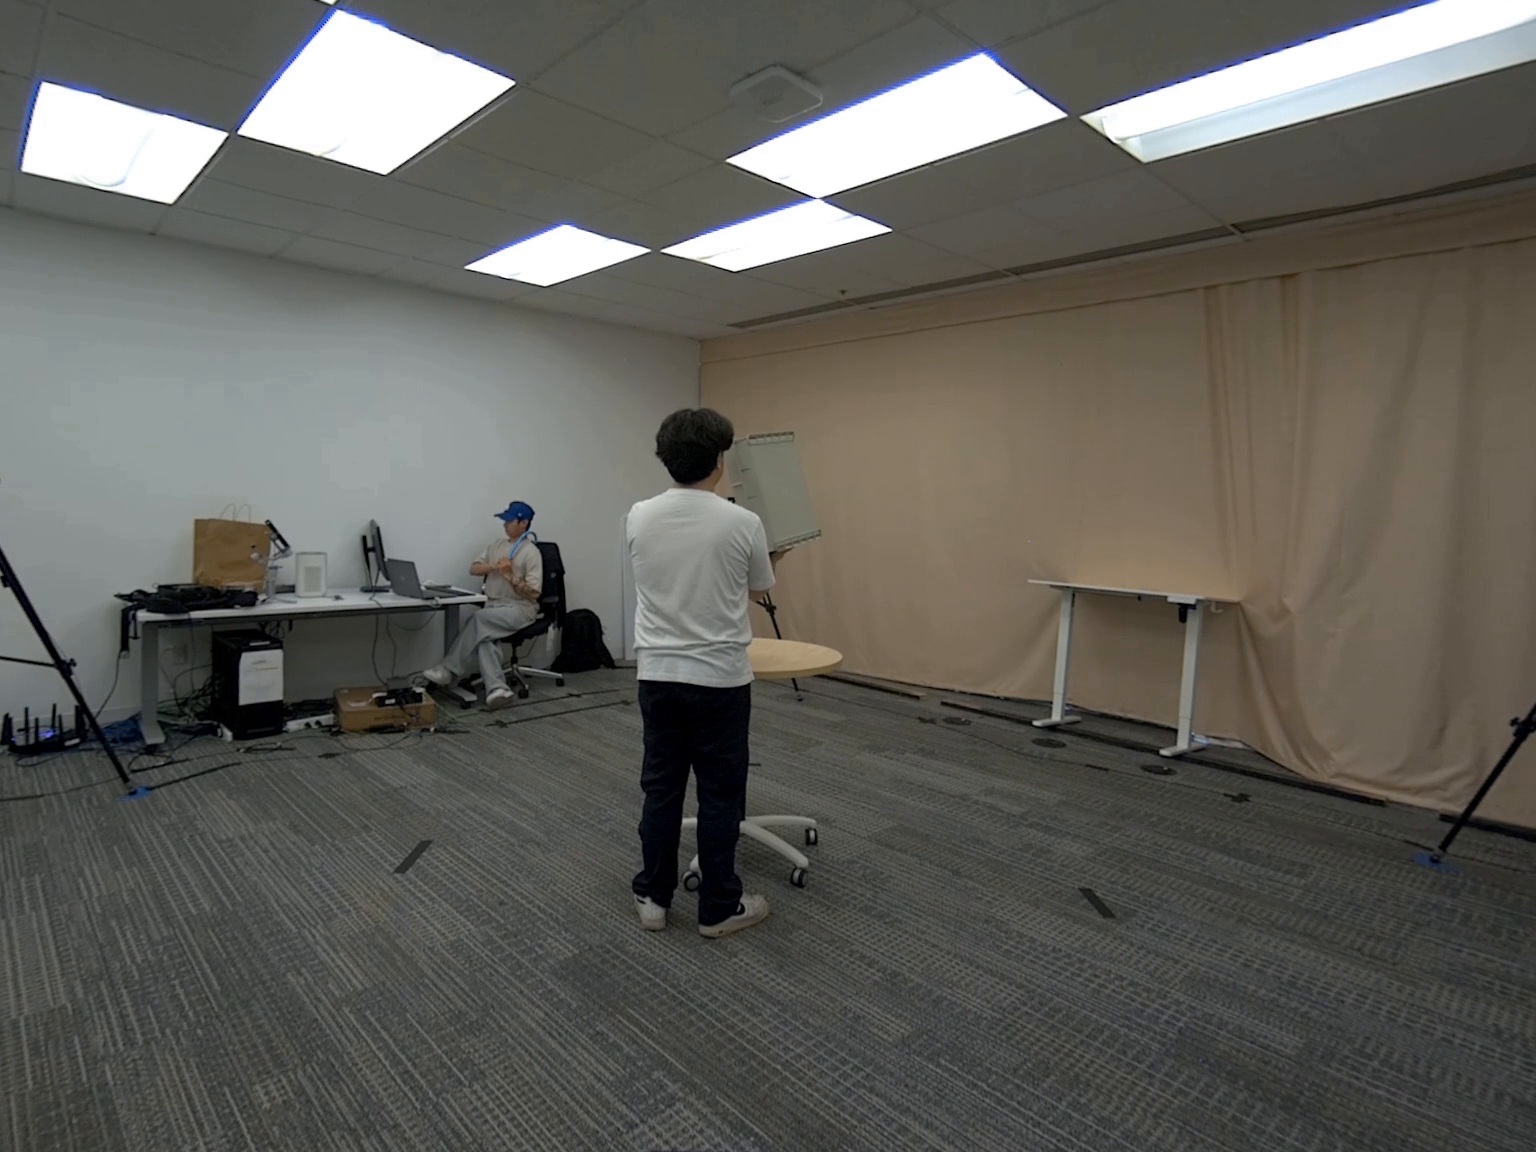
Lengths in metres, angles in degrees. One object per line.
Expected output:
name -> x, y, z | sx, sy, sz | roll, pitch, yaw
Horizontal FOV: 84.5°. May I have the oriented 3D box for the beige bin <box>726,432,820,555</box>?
beige bin -> -0.036, -0.292, 3.046 | 0.192, 0.422, 0.371 | -15, 1, 37
